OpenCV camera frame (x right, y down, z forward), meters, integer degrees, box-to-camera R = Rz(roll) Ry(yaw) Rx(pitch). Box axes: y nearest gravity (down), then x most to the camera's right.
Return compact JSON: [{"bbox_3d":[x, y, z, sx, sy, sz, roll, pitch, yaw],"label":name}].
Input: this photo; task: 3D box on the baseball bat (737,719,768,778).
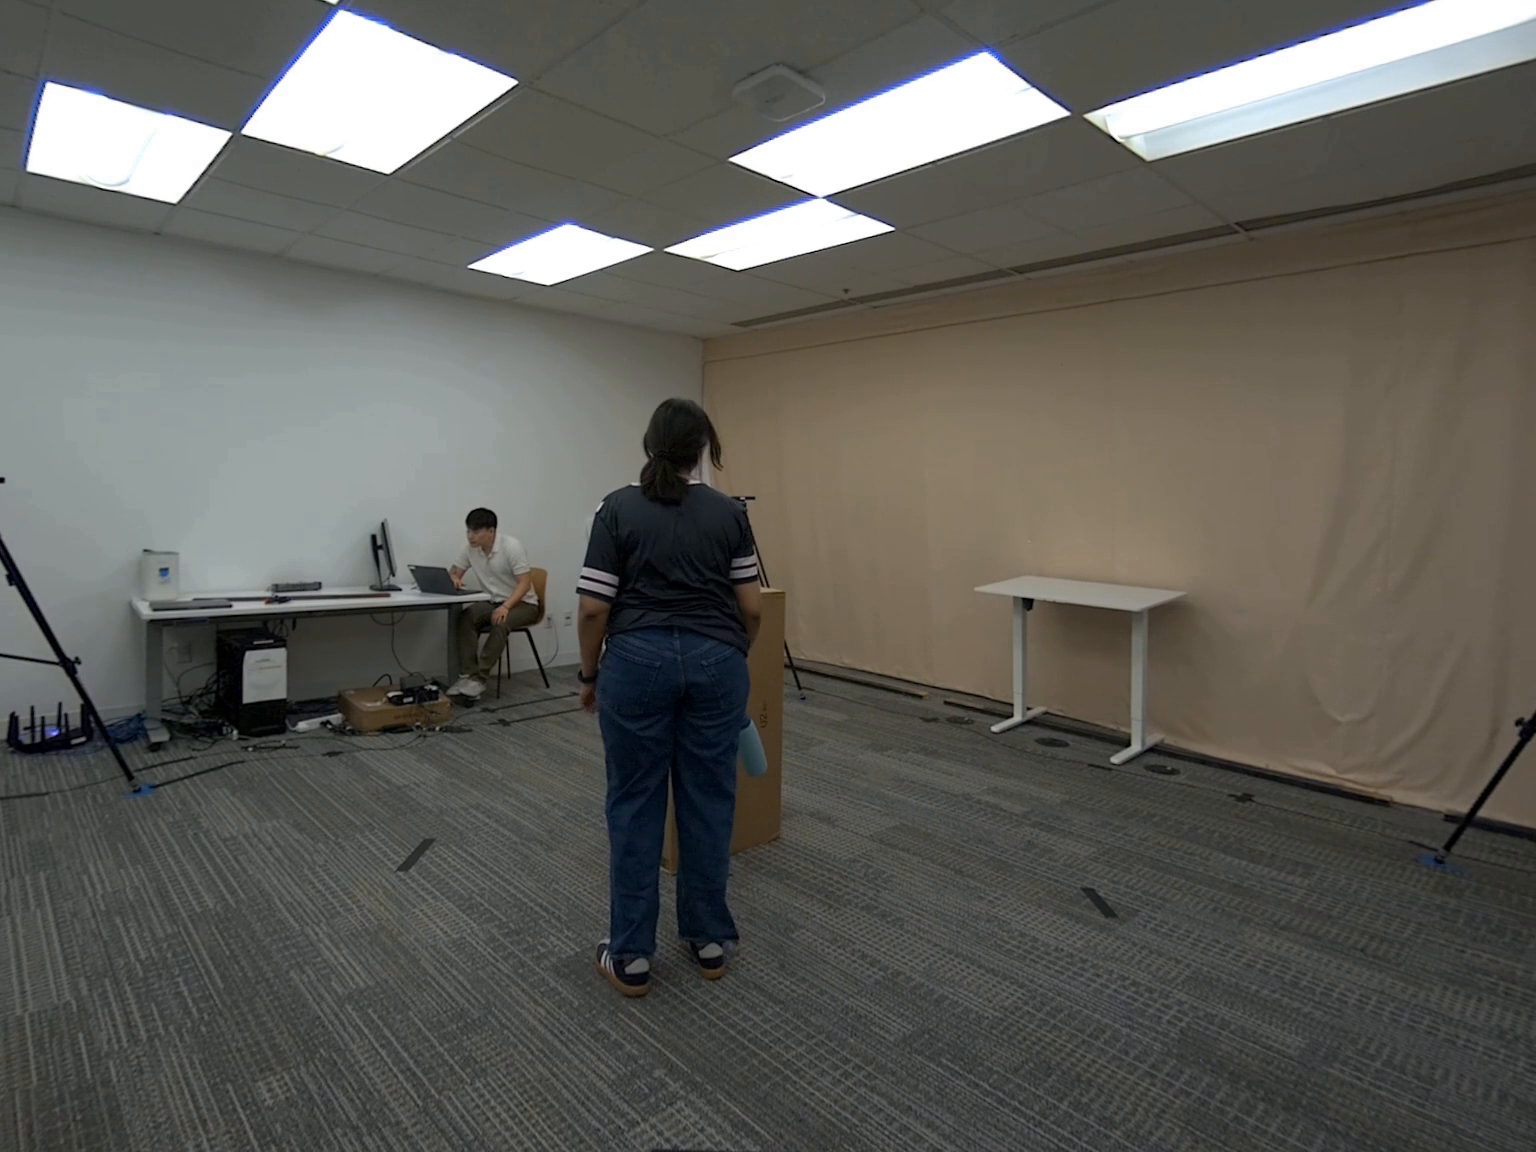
[{"bbox_3d":[-0.108,0.492,2.832,0.089,0.528,0.091,-11,38,8],"label":"baseball bat"}]
